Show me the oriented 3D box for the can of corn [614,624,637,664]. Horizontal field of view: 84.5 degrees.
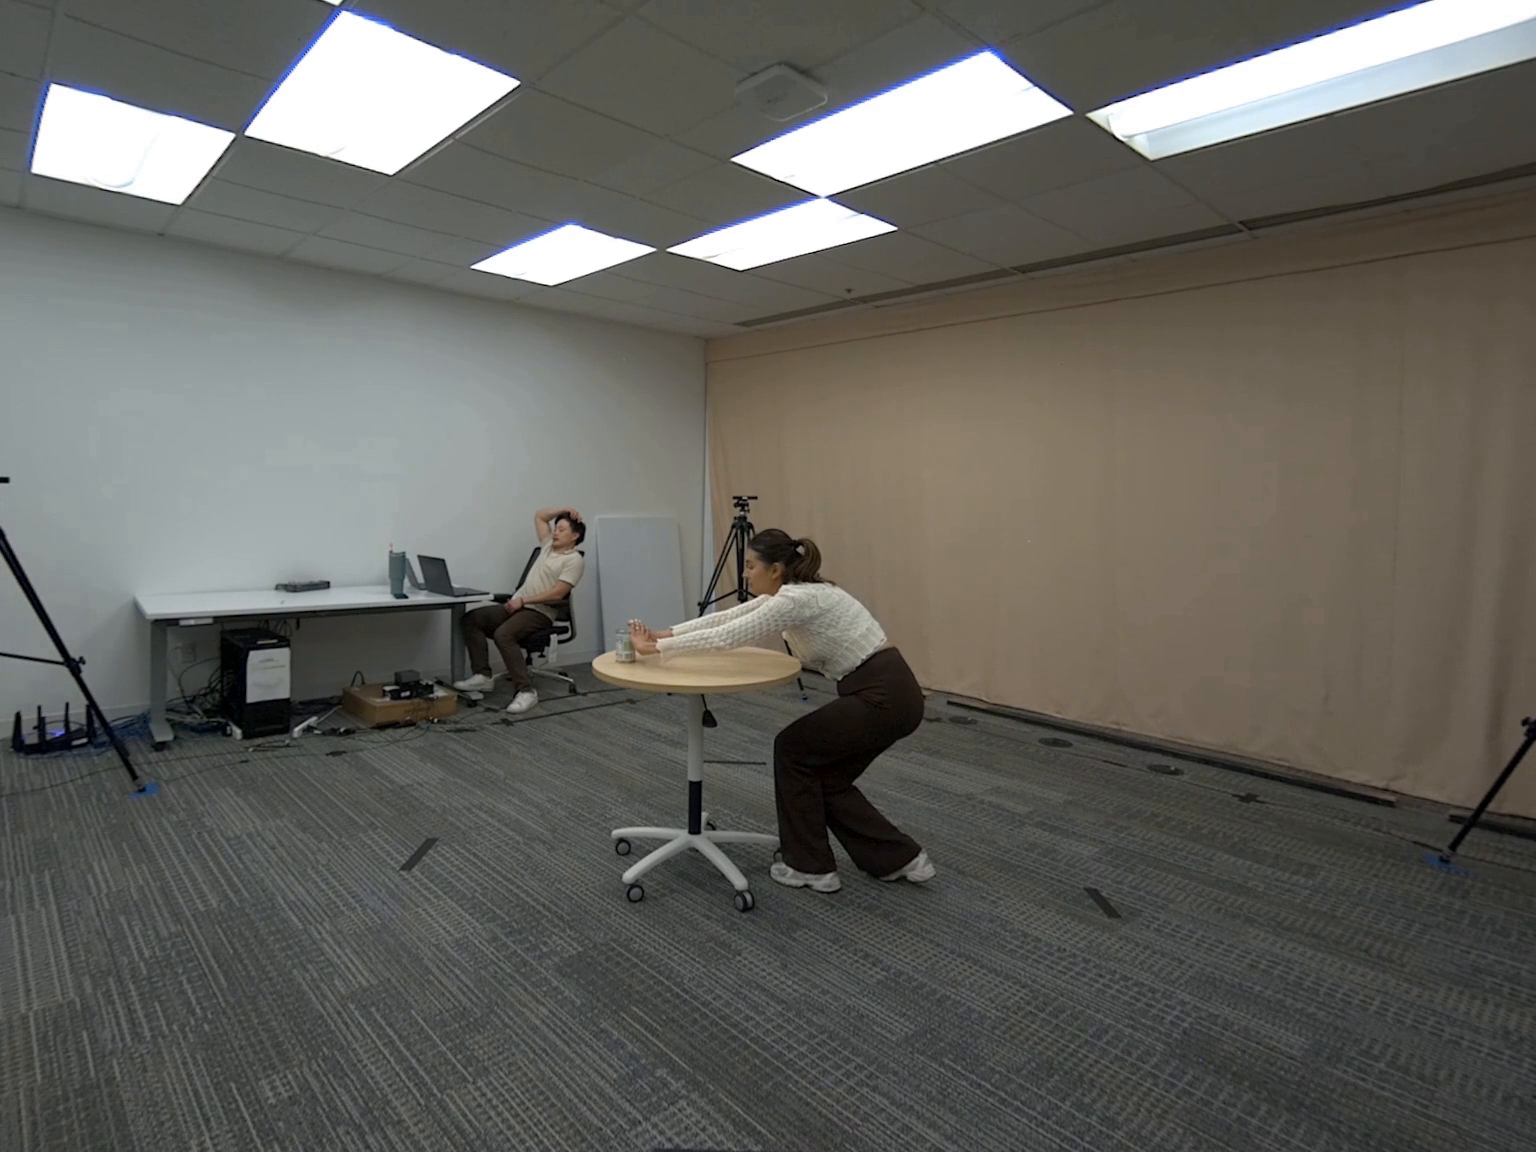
[{"bbox_3d":[-0.522,0.259,3.083,0.074,0.111,0.074,0,1,-1],"label":"can of corn"}]
